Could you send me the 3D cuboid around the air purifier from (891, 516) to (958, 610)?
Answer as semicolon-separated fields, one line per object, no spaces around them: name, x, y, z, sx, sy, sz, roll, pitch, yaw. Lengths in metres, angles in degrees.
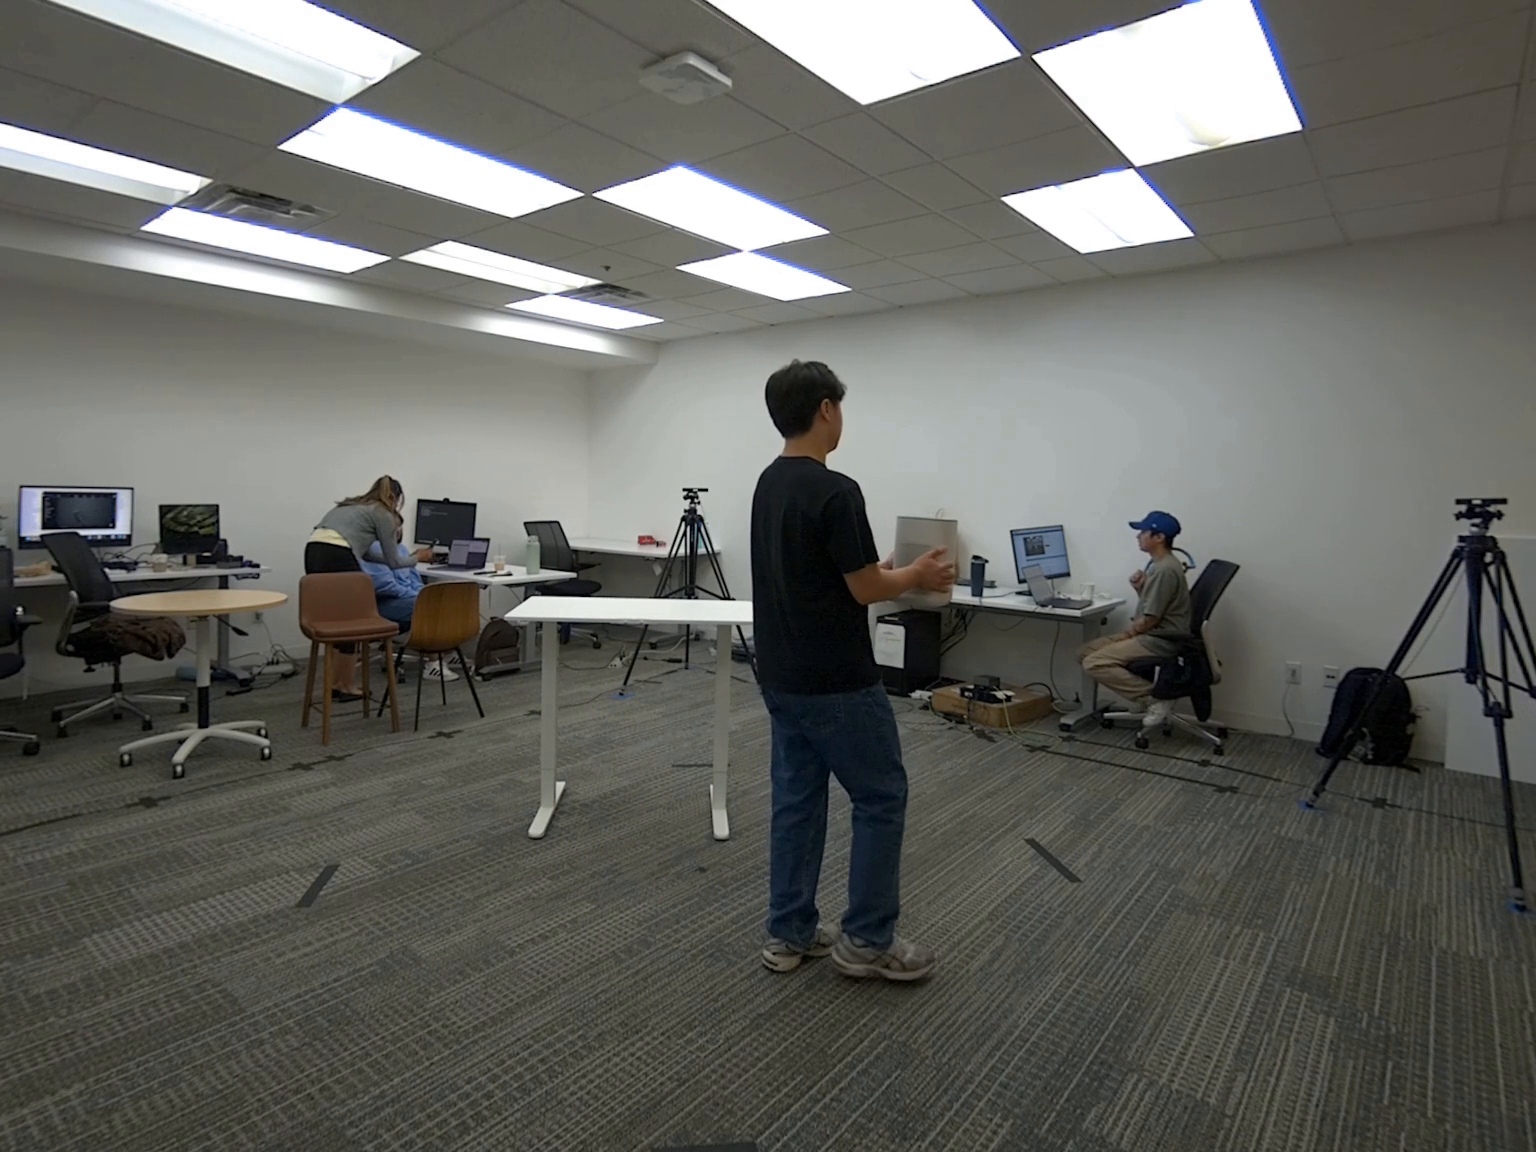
air purifier;0.477;-0.048;2.607;0.176;0.264;0.167;5;4;23
